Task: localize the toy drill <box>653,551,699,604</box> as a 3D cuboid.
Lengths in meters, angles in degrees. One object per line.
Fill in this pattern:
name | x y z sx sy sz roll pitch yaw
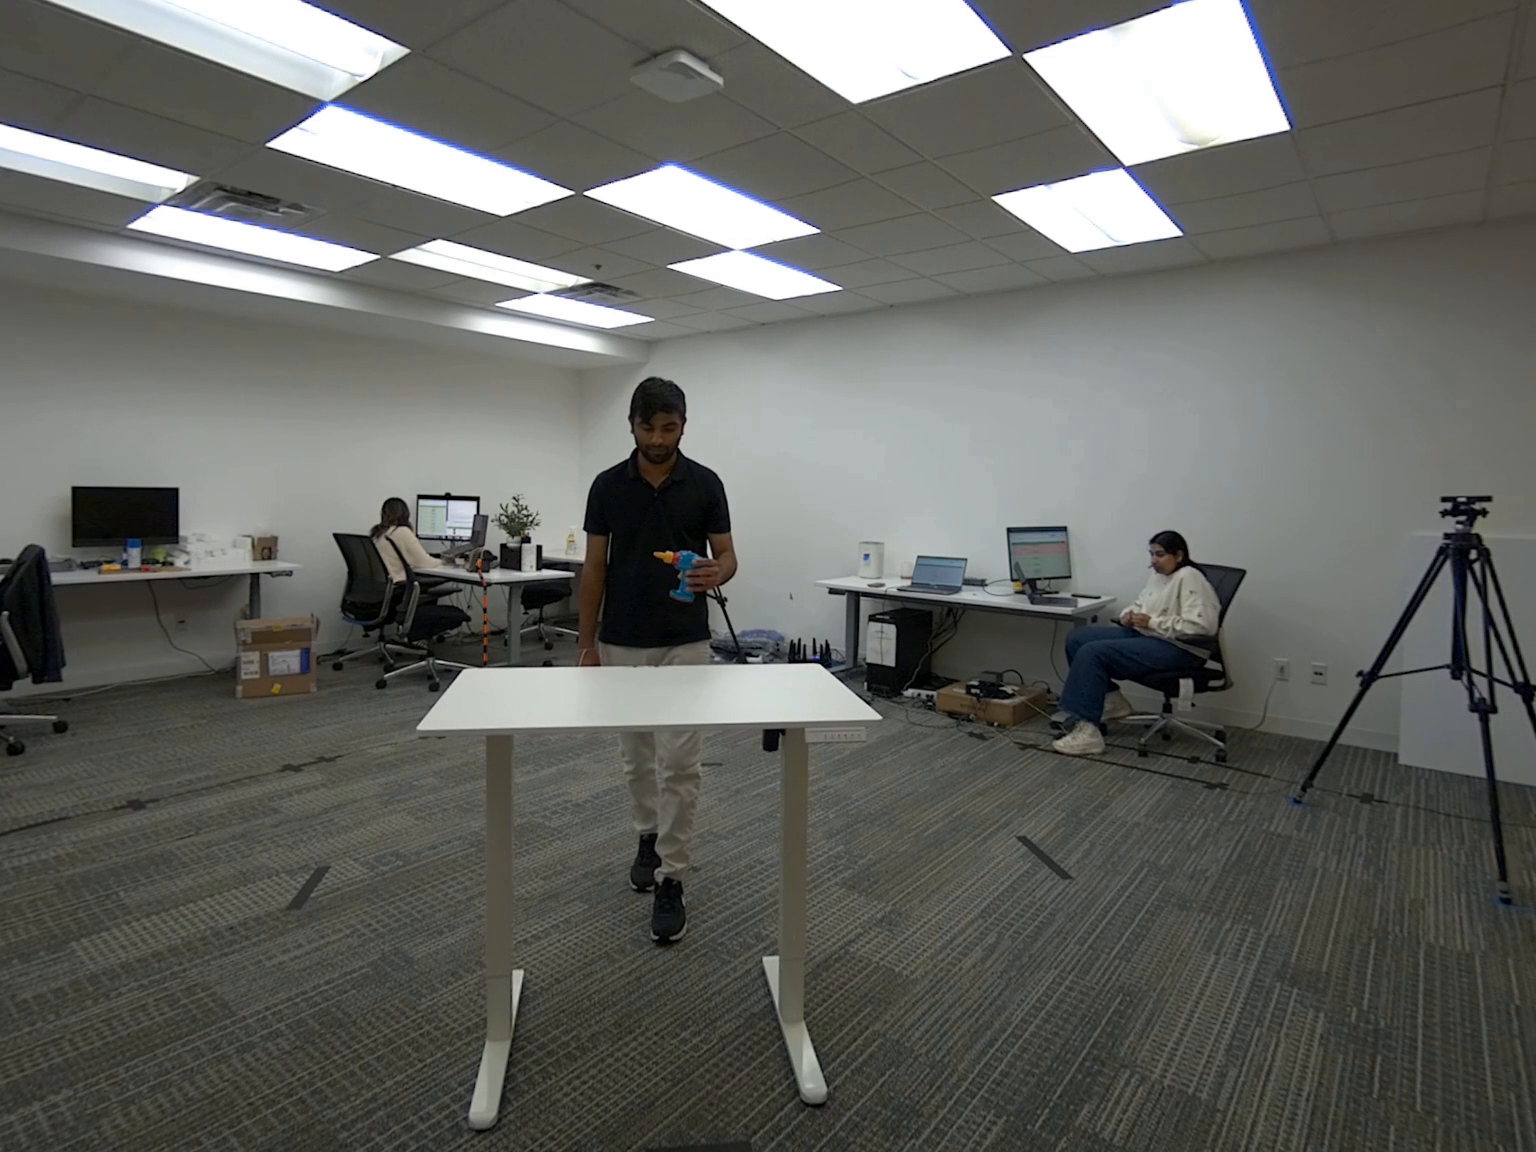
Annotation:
toy drill | -0.279 -0.016 2.514 0.165 0.145 0.063 13 8 -25
